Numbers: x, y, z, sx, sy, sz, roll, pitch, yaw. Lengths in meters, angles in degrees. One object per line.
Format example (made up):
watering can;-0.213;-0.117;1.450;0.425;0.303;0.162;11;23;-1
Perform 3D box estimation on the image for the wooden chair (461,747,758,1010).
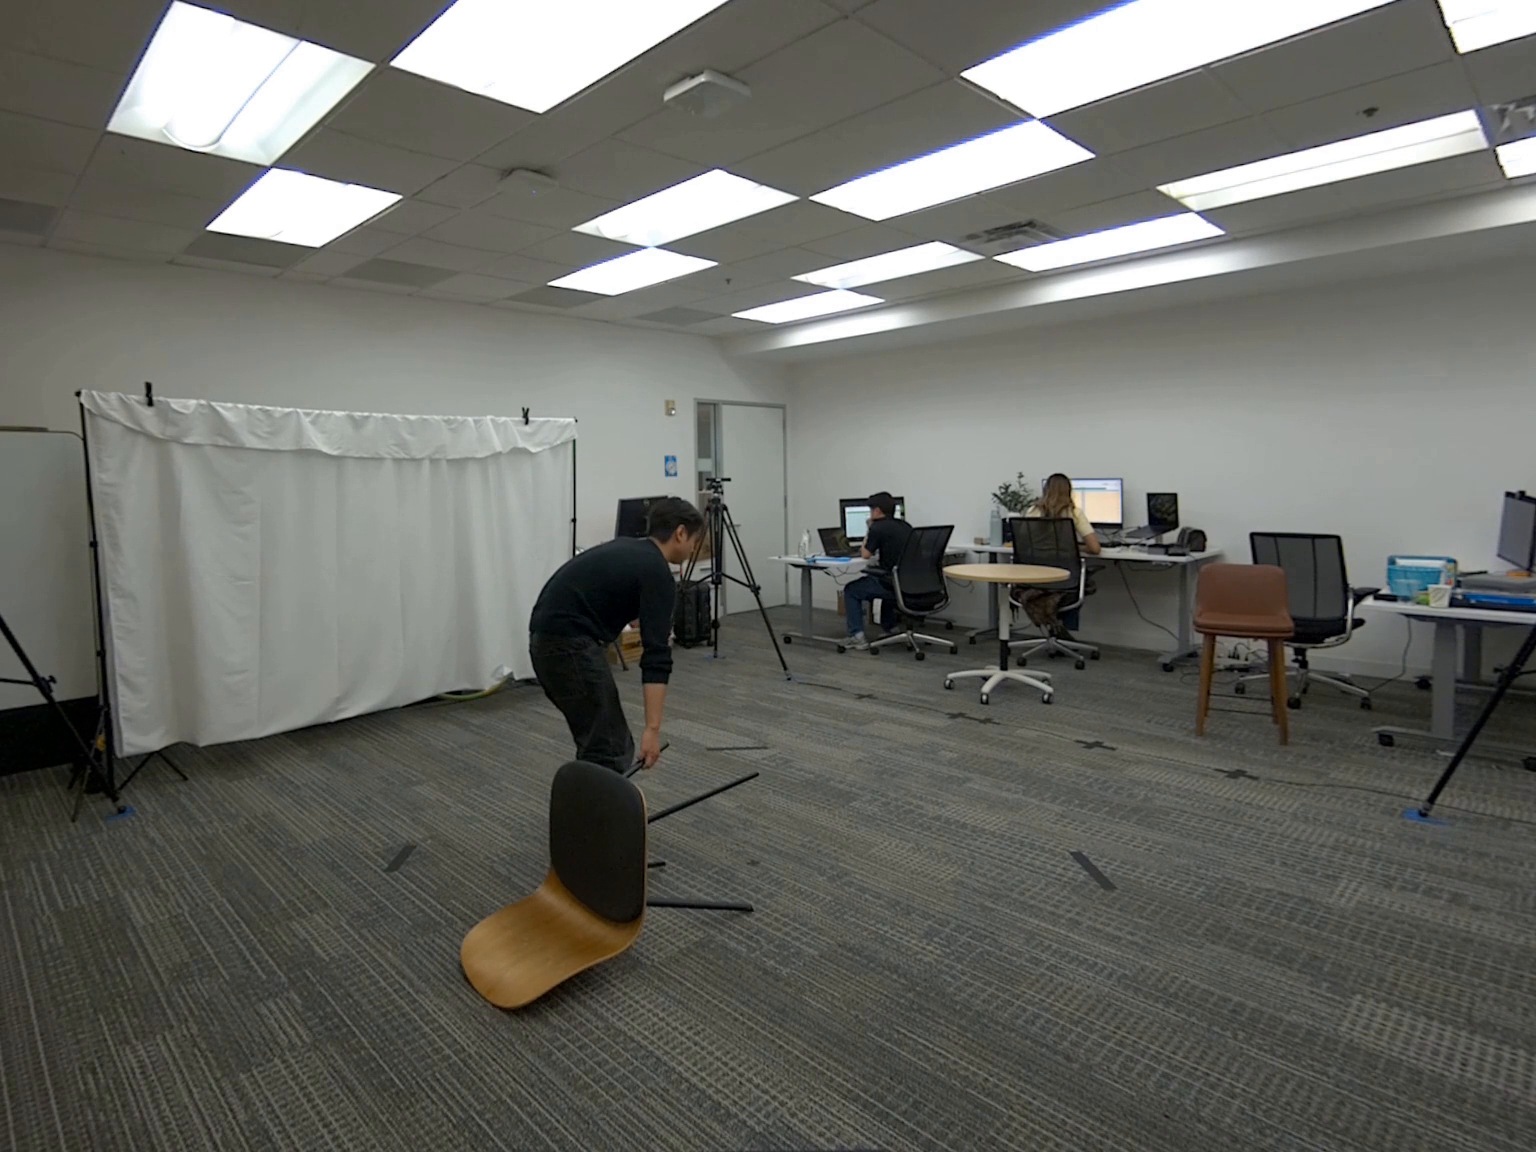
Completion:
wooden chair;-0.490;0.847;2.615;0.493;0.520;0.855;5;10;44
